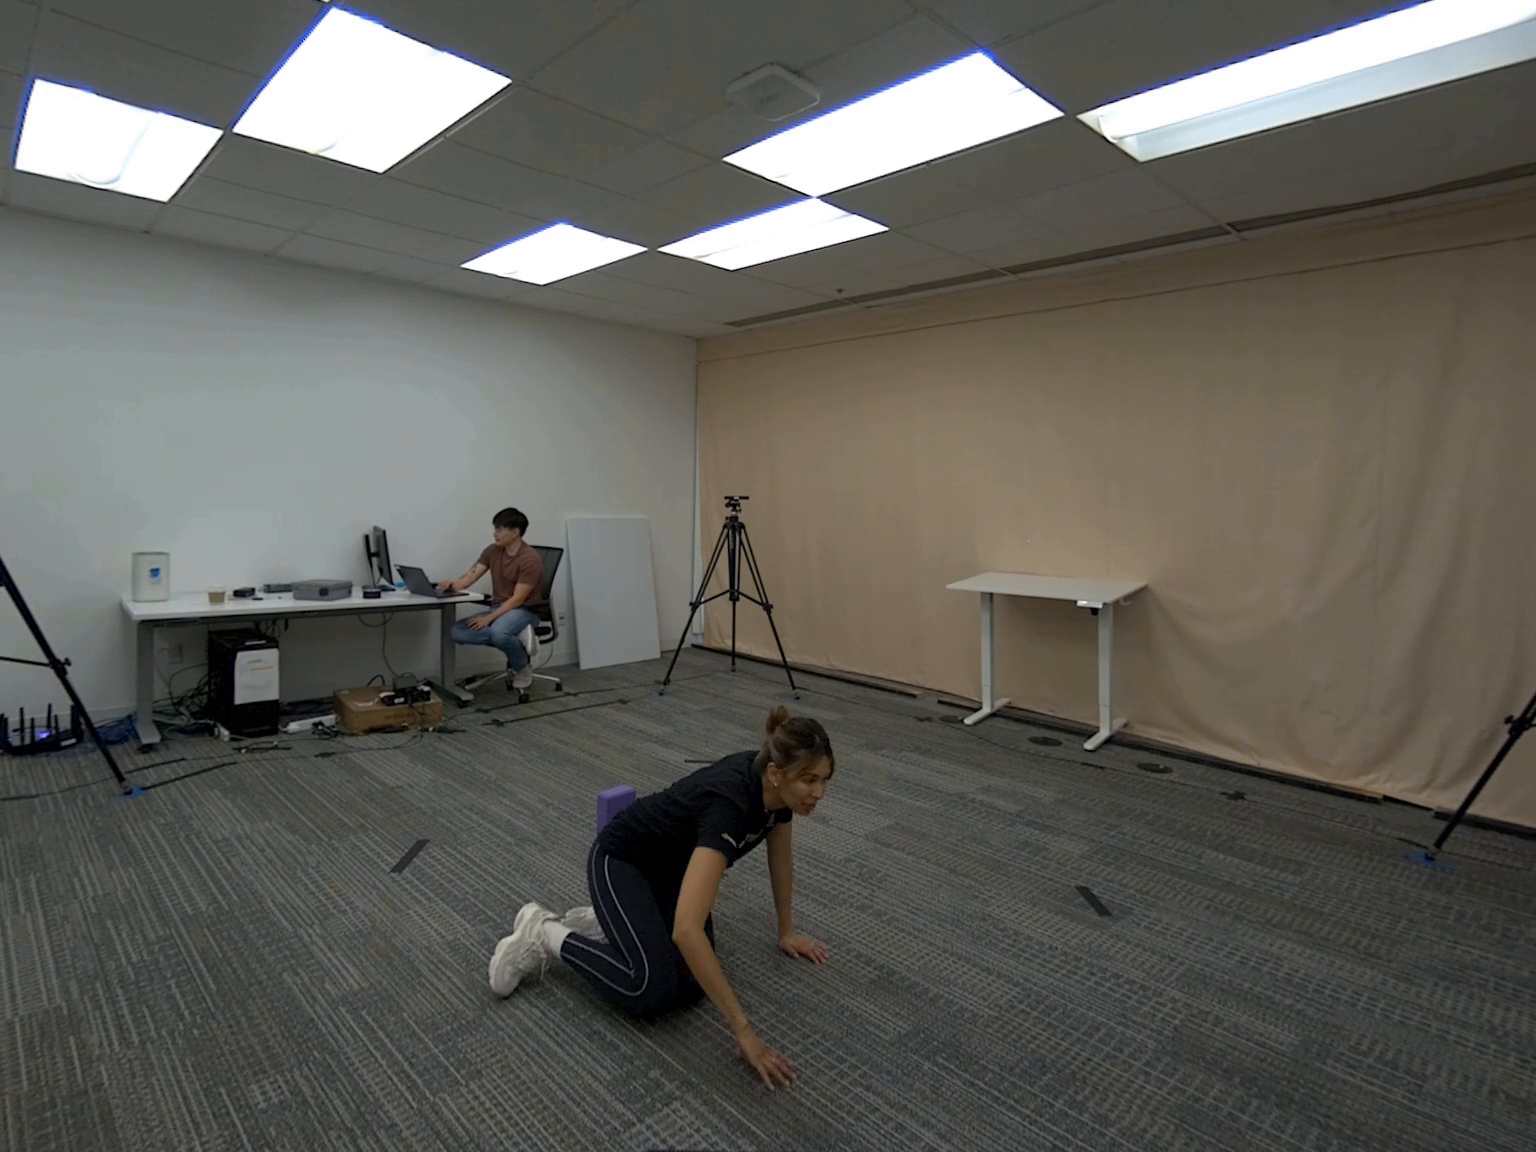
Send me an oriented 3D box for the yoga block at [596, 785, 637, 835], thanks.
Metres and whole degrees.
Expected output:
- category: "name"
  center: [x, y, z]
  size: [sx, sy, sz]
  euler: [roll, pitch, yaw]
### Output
- category: "yoga block"
  center: [-0.602, 0.958, 3.312]
  size: [0.078, 0.229, 0.145]
  euler: [6, 5, 40]
